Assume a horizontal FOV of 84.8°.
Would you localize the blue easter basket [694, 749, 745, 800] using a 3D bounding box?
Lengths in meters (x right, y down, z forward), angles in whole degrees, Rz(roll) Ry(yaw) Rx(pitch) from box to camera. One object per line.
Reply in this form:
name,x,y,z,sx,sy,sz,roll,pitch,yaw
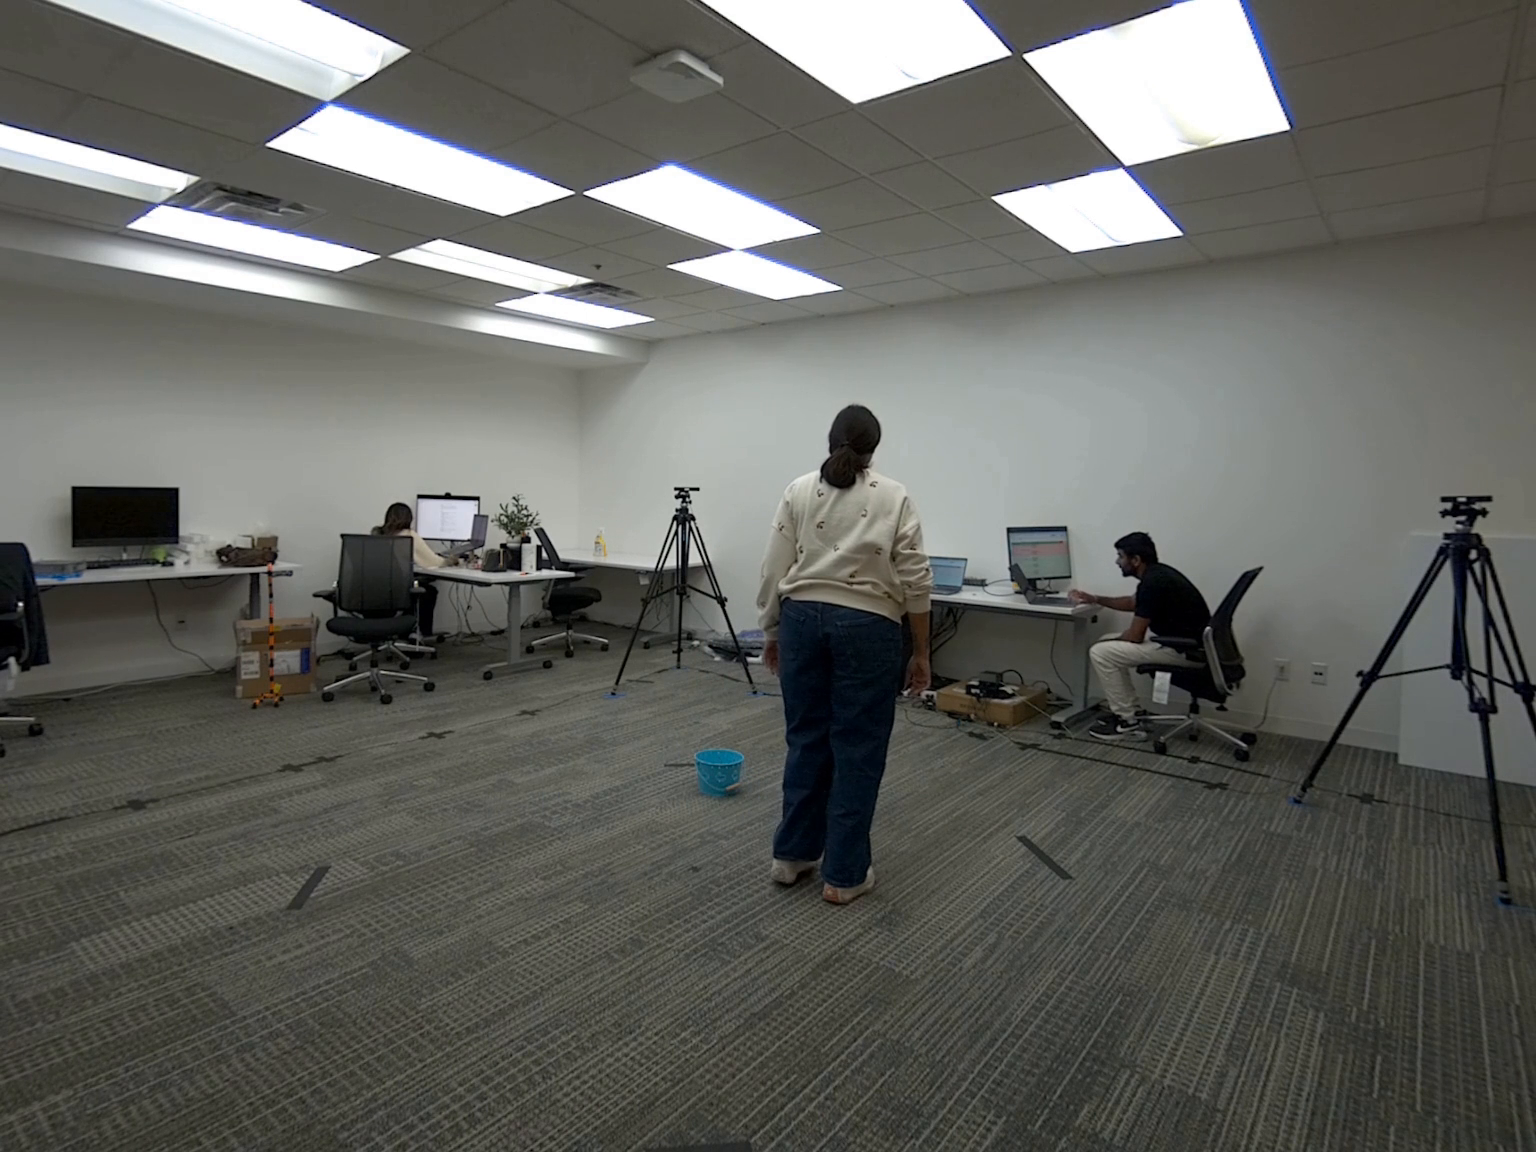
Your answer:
blue easter basket,-0.240,0.904,3.936,0.243,0.155,0.245,1,5,-2
